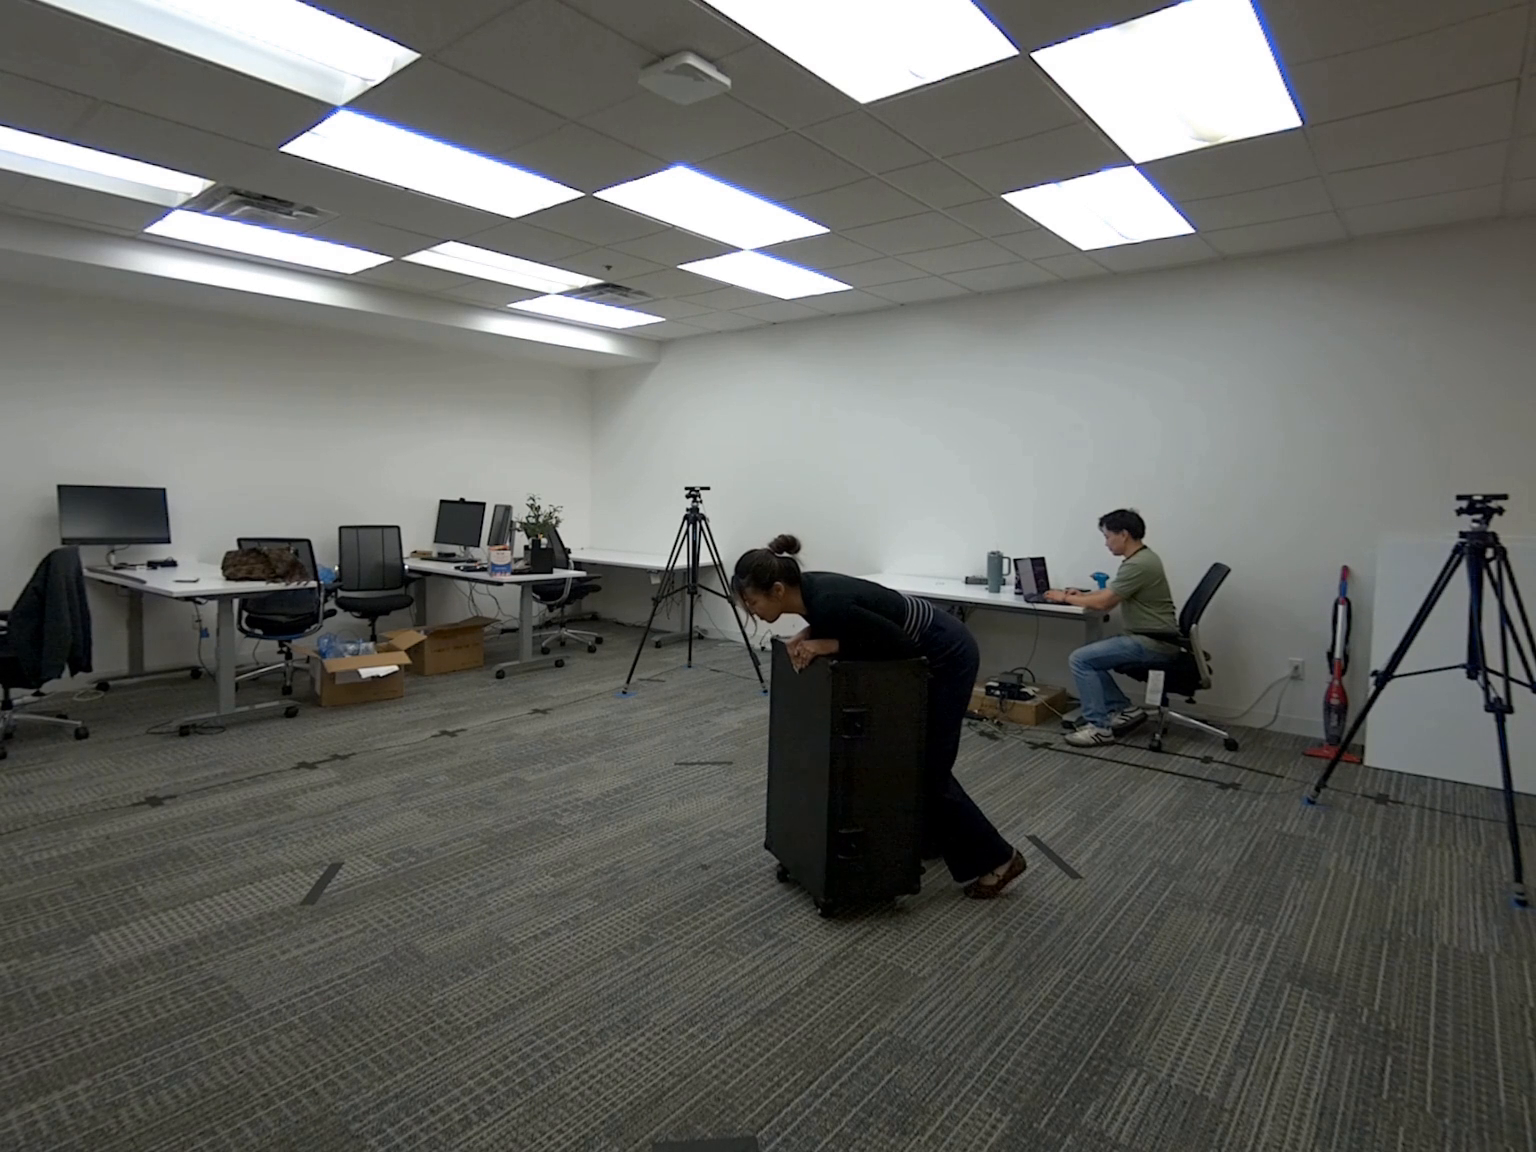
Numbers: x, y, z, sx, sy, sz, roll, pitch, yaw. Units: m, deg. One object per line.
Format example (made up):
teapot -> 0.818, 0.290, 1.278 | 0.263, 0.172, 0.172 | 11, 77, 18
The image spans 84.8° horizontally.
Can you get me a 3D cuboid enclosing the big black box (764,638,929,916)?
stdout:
big black box -> 0.254, 0.666, 2.949 | 0.387, 0.860, 0.534 | 2, 3, -22
